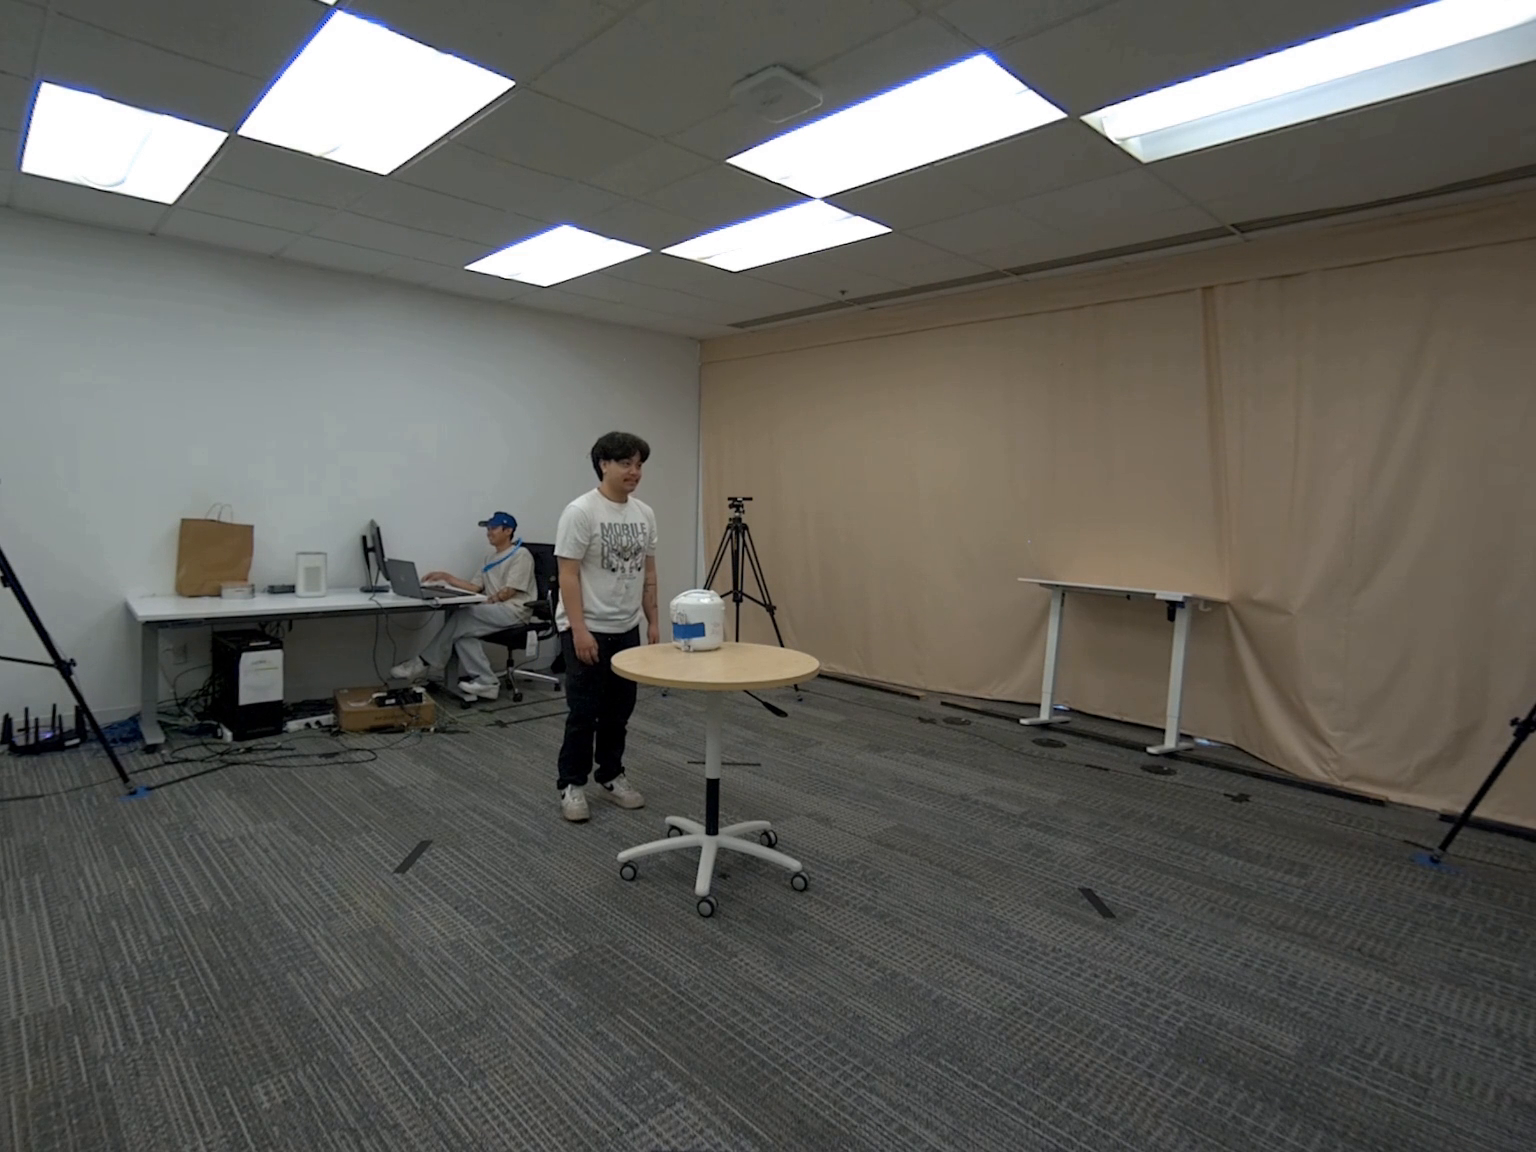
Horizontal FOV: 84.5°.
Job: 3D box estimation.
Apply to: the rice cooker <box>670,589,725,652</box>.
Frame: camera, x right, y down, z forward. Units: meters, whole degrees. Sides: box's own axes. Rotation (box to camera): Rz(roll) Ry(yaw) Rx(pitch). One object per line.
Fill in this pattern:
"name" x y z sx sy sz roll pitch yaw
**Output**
"rice cooker" -0.287 0.169 3.339 0.217 0.232 0.221 1 5 -22
